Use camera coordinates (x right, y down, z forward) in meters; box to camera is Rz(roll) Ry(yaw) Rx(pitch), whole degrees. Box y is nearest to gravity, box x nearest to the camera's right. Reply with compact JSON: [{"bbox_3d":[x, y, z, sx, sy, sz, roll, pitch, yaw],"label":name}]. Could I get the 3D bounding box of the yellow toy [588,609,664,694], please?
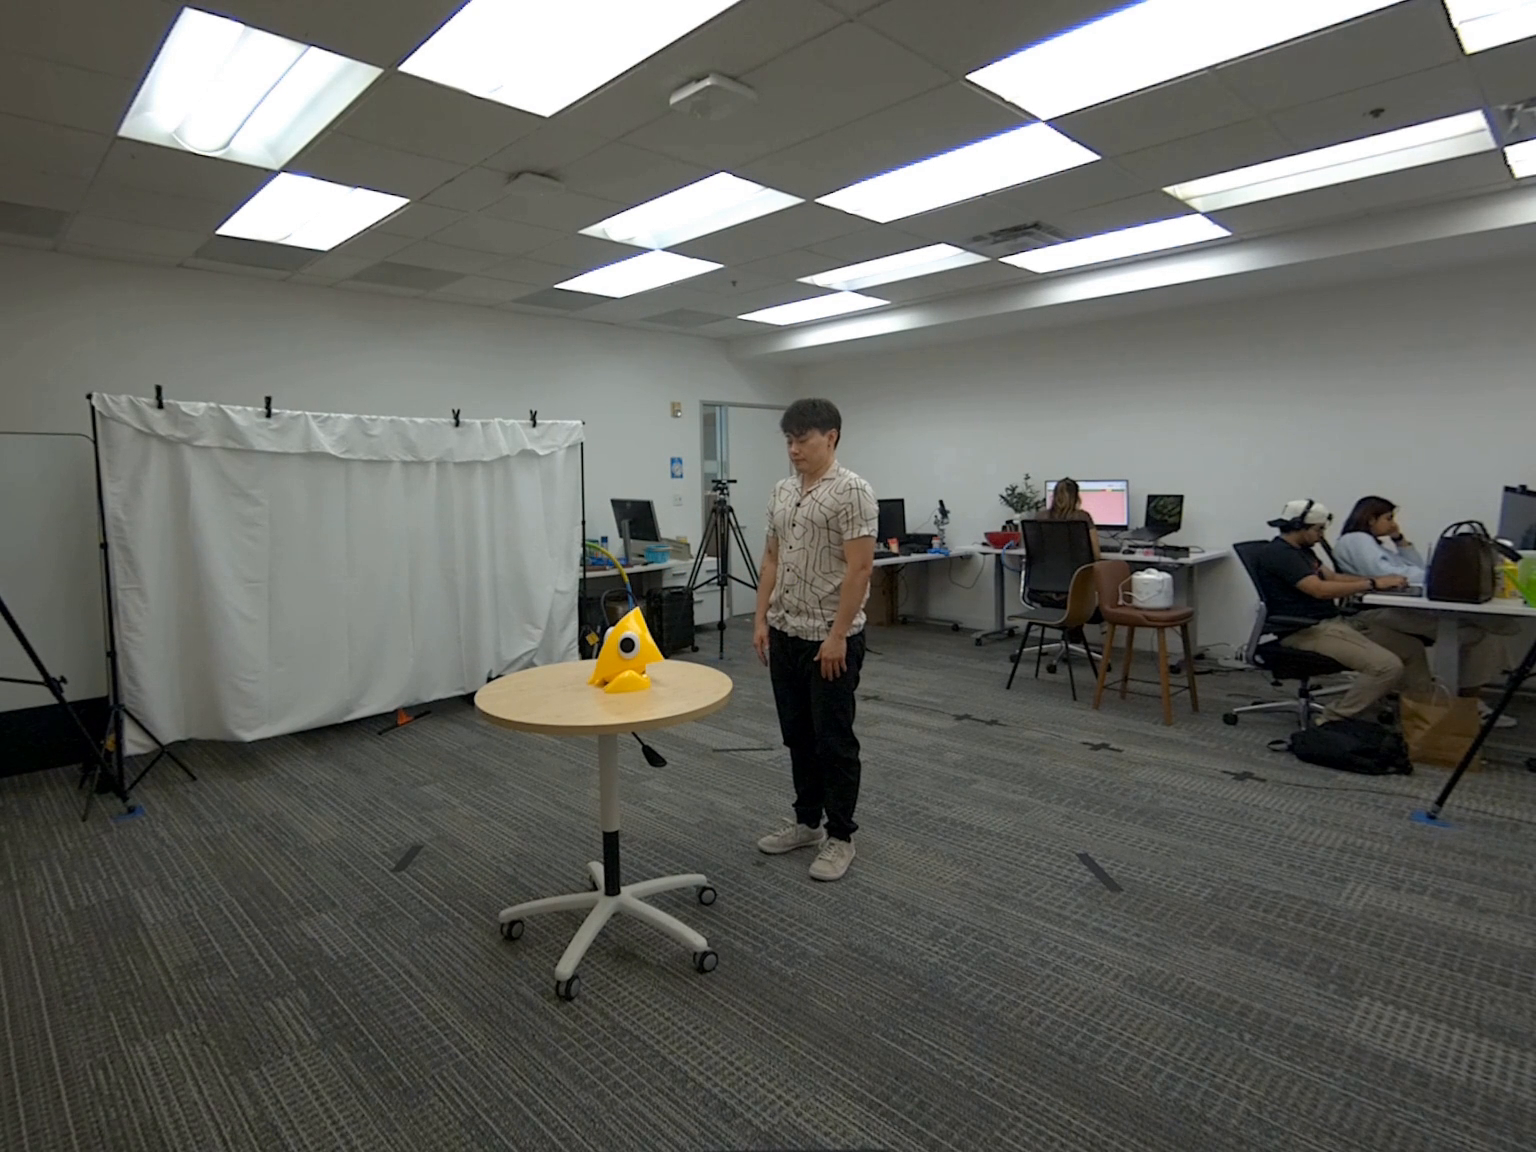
[{"bbox_3d":[-0.446,0.217,2.602,0.188,0.229,0.211,-5,7,-35],"label":"yellow toy"}]
